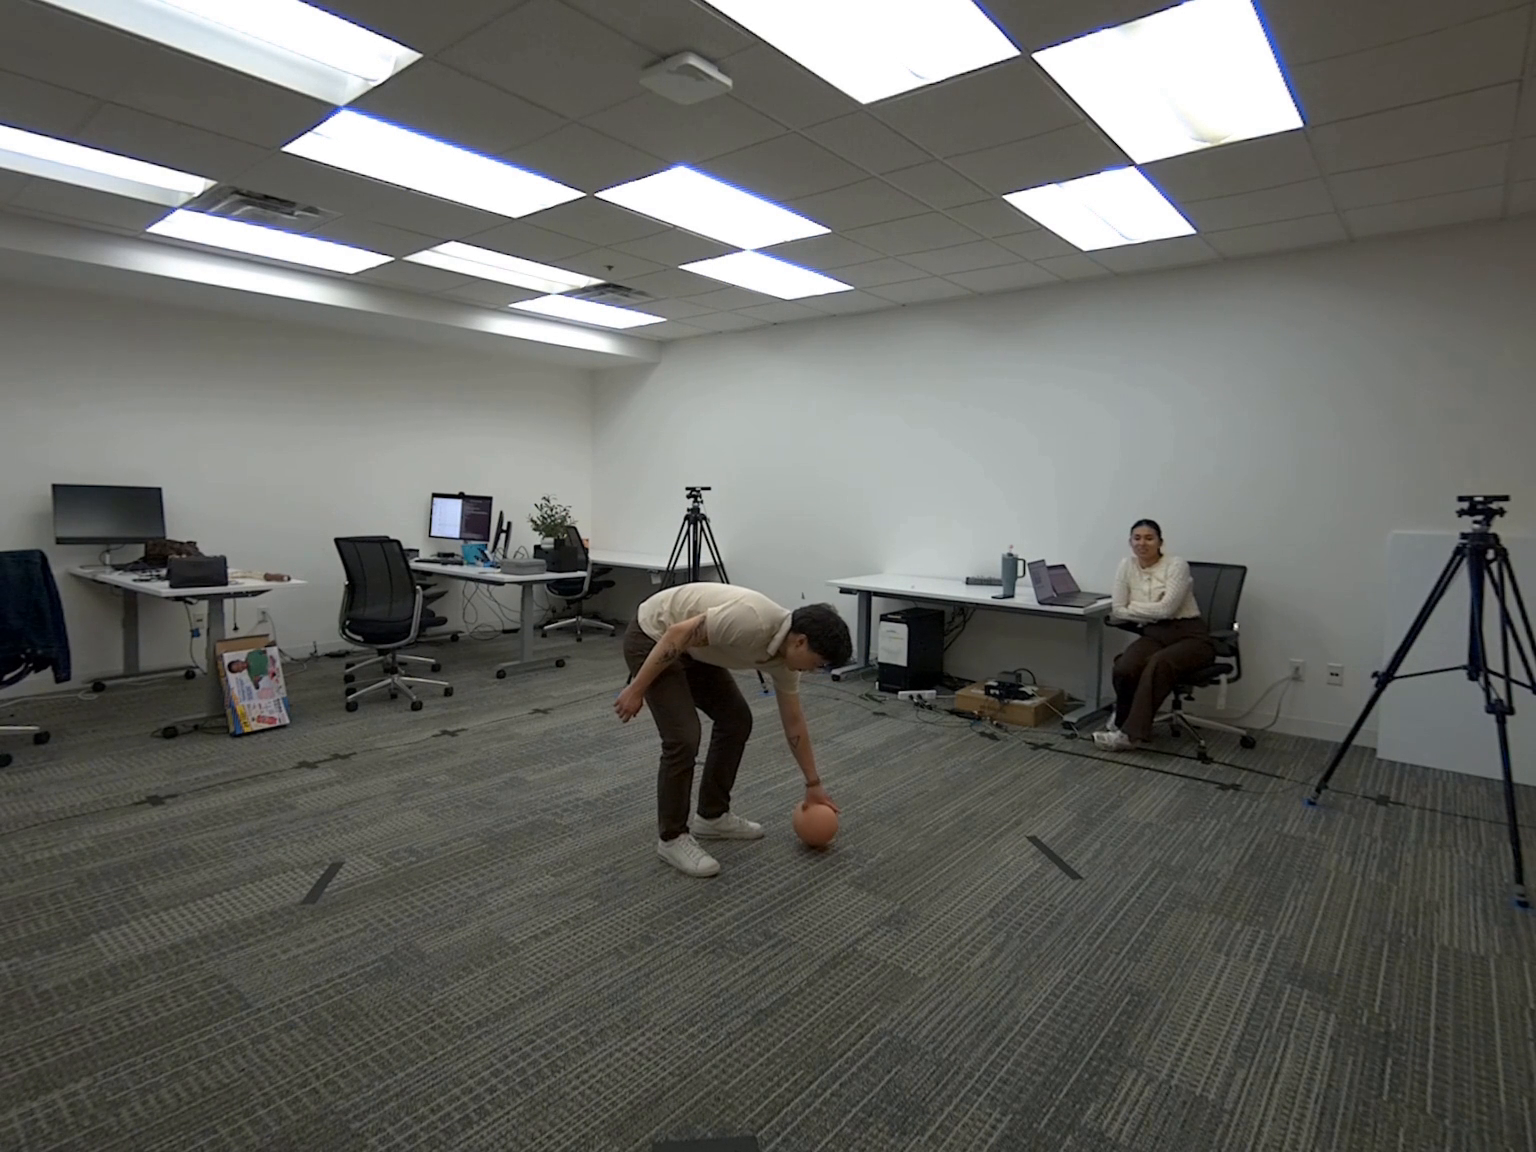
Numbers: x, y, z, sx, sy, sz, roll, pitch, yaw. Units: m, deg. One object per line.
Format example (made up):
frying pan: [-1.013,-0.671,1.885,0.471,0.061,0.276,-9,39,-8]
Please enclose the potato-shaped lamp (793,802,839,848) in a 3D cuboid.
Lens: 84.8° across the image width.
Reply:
potato-shaped lamp: [0.188,0.953,3.311,0.163,0.174,0.197,14,-23,-10]
